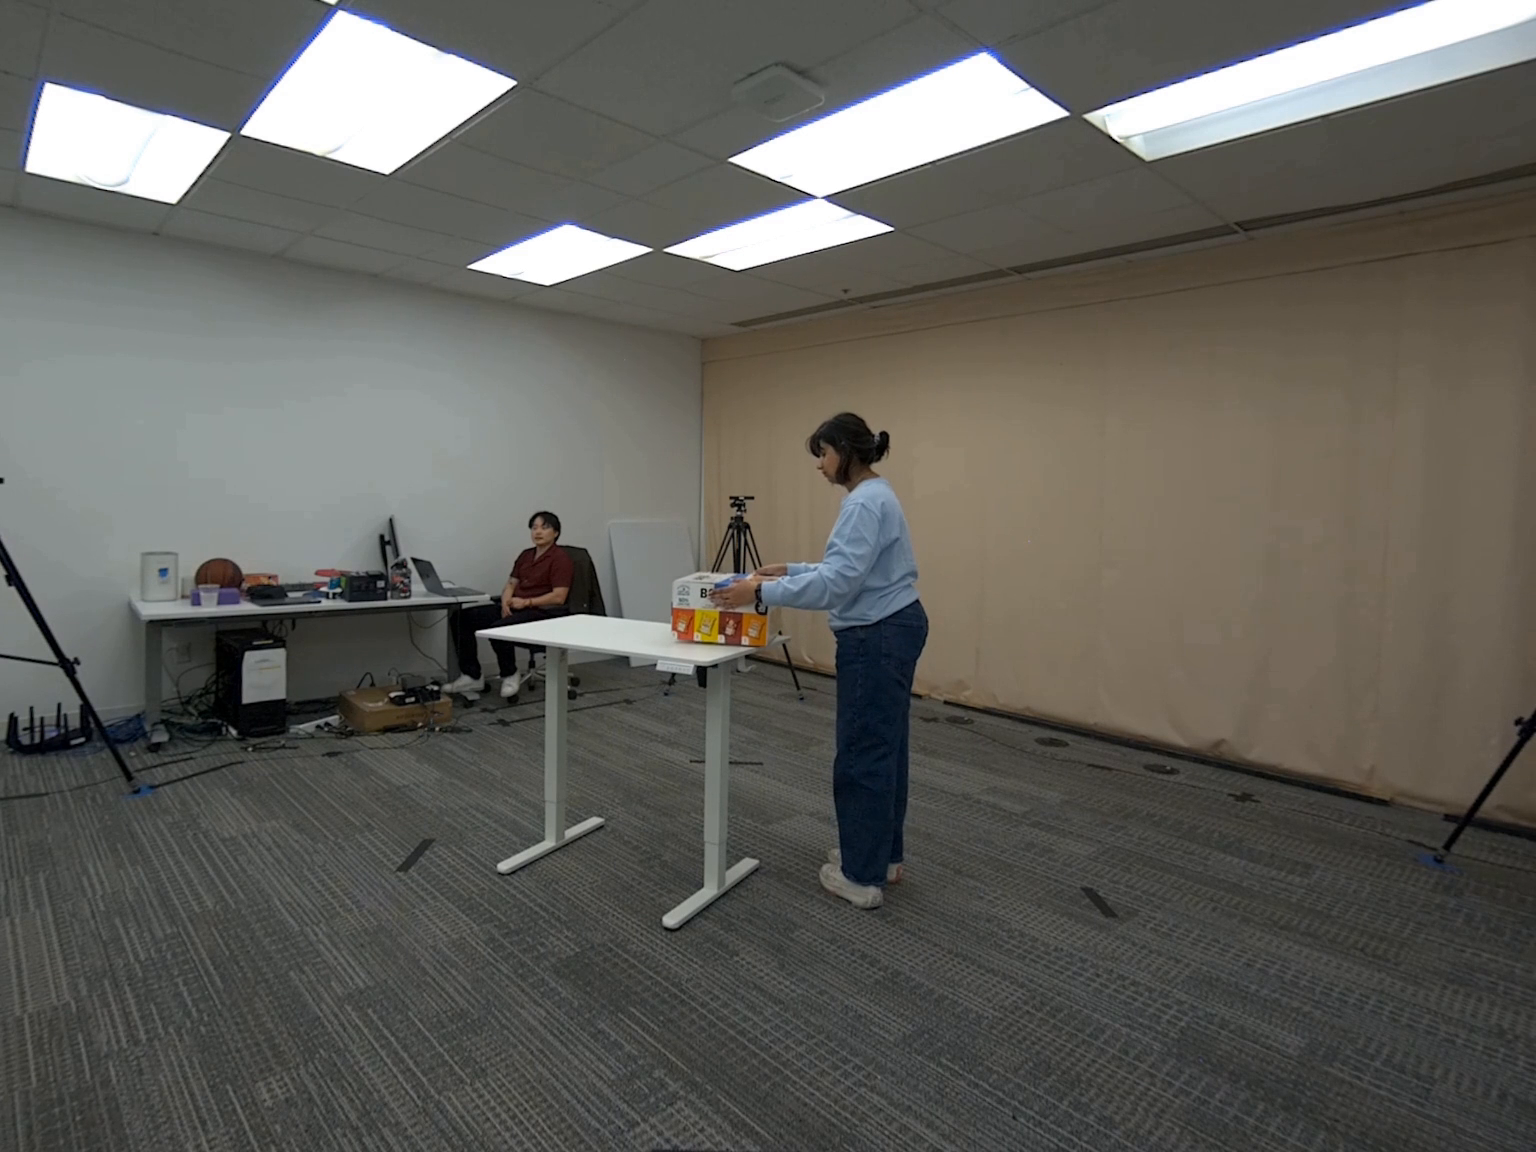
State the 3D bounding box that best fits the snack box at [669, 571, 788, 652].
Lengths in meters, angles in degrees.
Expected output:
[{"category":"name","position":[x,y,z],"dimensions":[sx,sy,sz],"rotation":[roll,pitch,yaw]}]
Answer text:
[{"category":"snack box","position":[-0.131,0.117,3.059],"dimensions":[0.344,0.205,0.402],"rotation":[5,5,11]}]
